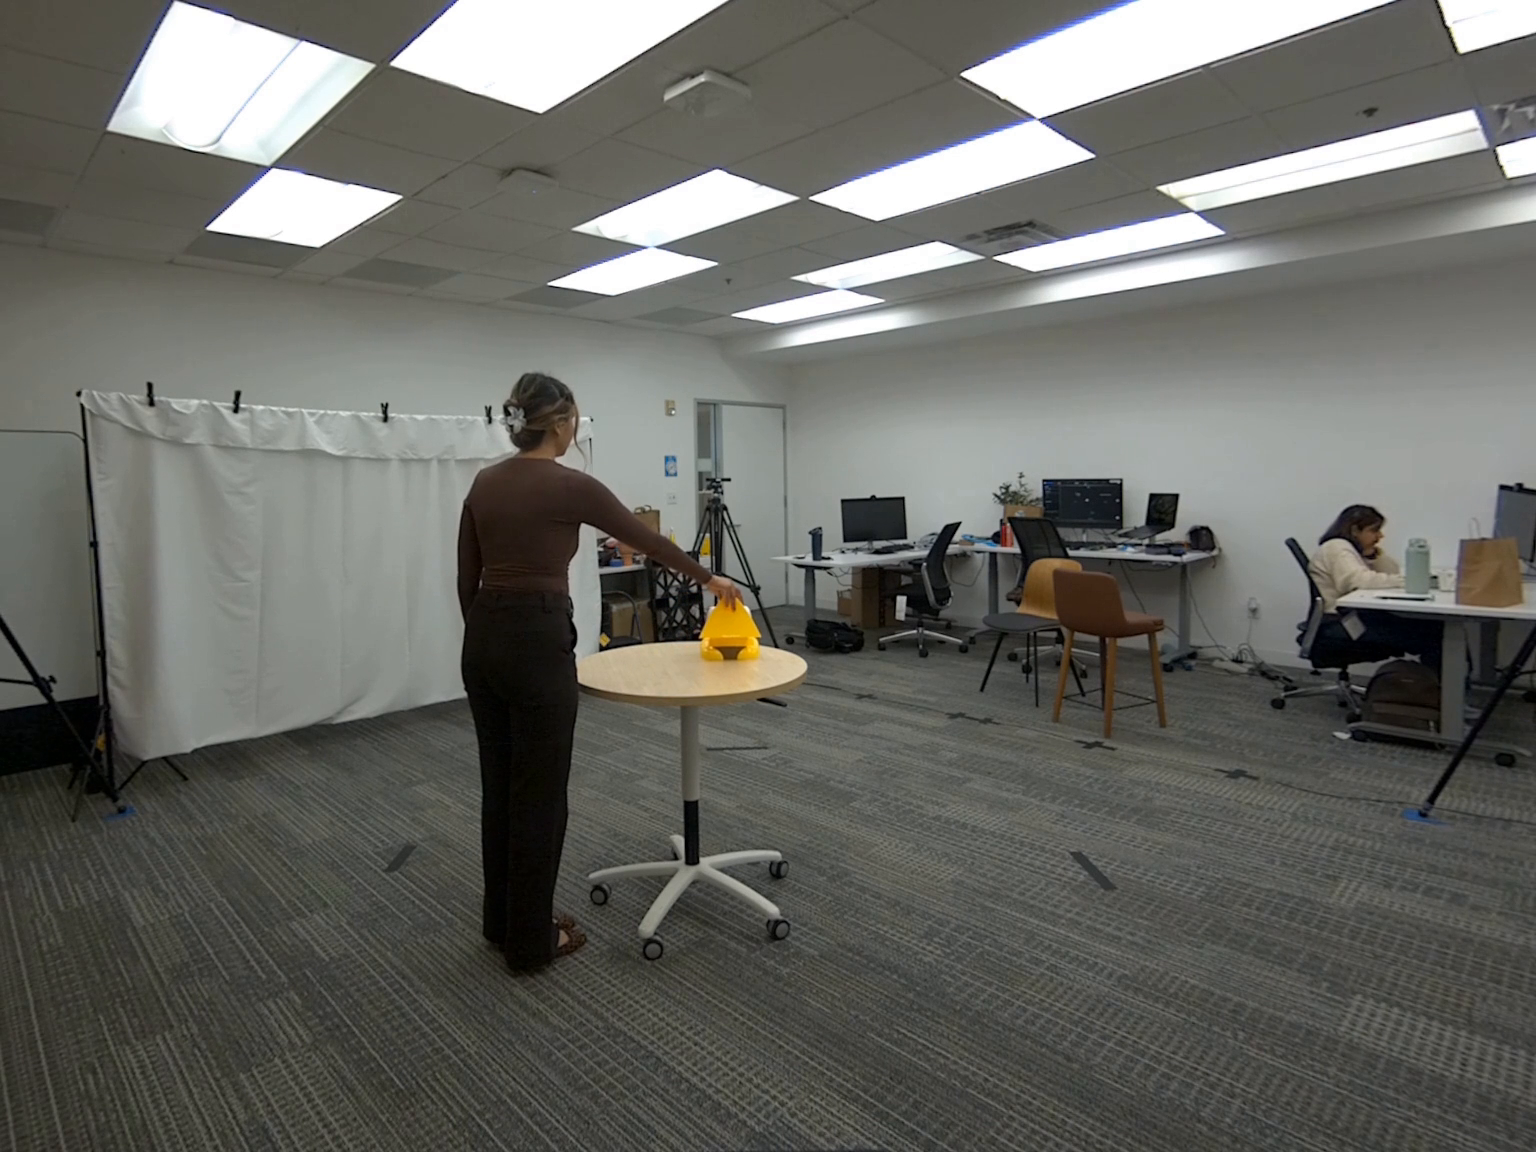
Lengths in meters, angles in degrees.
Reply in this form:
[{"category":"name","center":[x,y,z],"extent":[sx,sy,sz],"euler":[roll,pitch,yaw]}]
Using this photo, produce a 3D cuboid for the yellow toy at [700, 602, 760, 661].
[{"category":"yellow toy","center":[-0.130,0.156,2.893],"extent":[0.204,0.230,0.194],"euler":[-1,5,-3]}]
